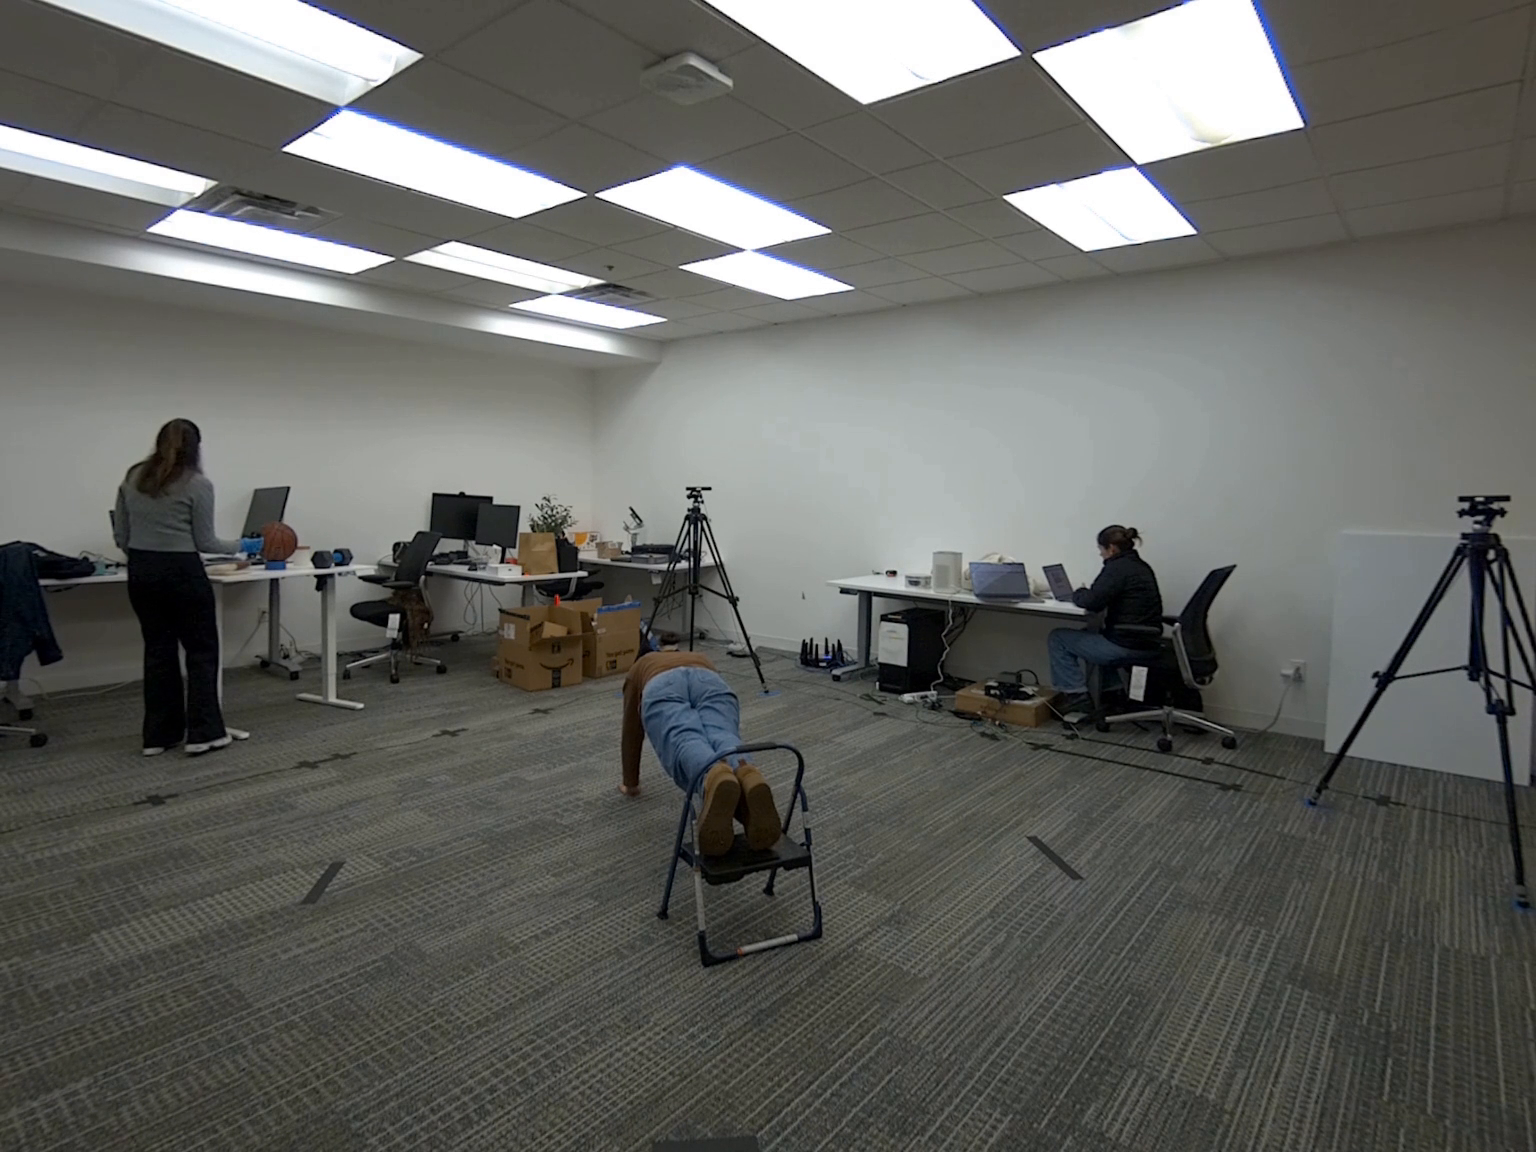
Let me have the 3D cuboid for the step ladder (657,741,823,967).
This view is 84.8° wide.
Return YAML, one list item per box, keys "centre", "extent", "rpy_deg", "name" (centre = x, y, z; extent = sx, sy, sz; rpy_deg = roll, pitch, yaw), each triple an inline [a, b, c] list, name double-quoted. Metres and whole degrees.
- centre: [-0.093, 0.809, 2.686]
  extent: [0.419, 0.604, 0.360]
  rpy_deg: [-1, 4, -29]
  name: "step ladder"
